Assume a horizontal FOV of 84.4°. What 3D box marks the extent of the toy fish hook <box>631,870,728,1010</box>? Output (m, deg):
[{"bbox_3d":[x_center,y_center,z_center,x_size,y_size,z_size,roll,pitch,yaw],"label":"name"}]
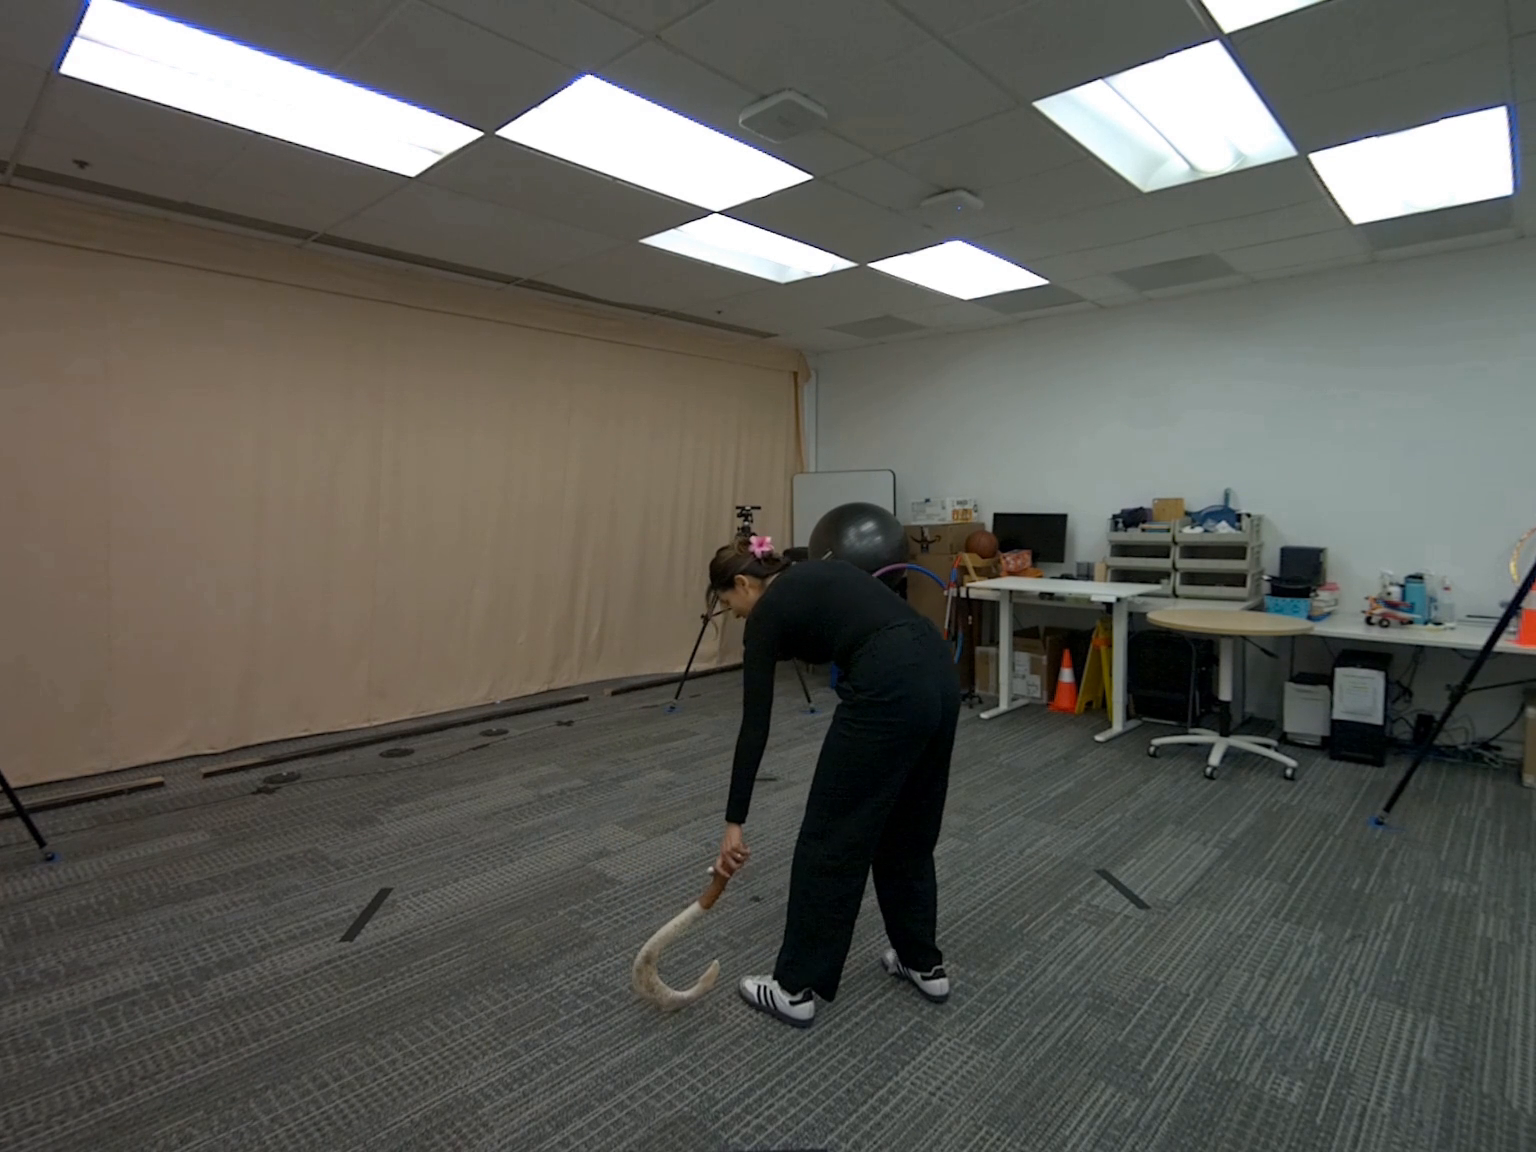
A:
[{"bbox_3d":[-0.166,0.977,2.319,0.222,0.507,0.049,37,1,-10],"label":"toy fish hook"}]
